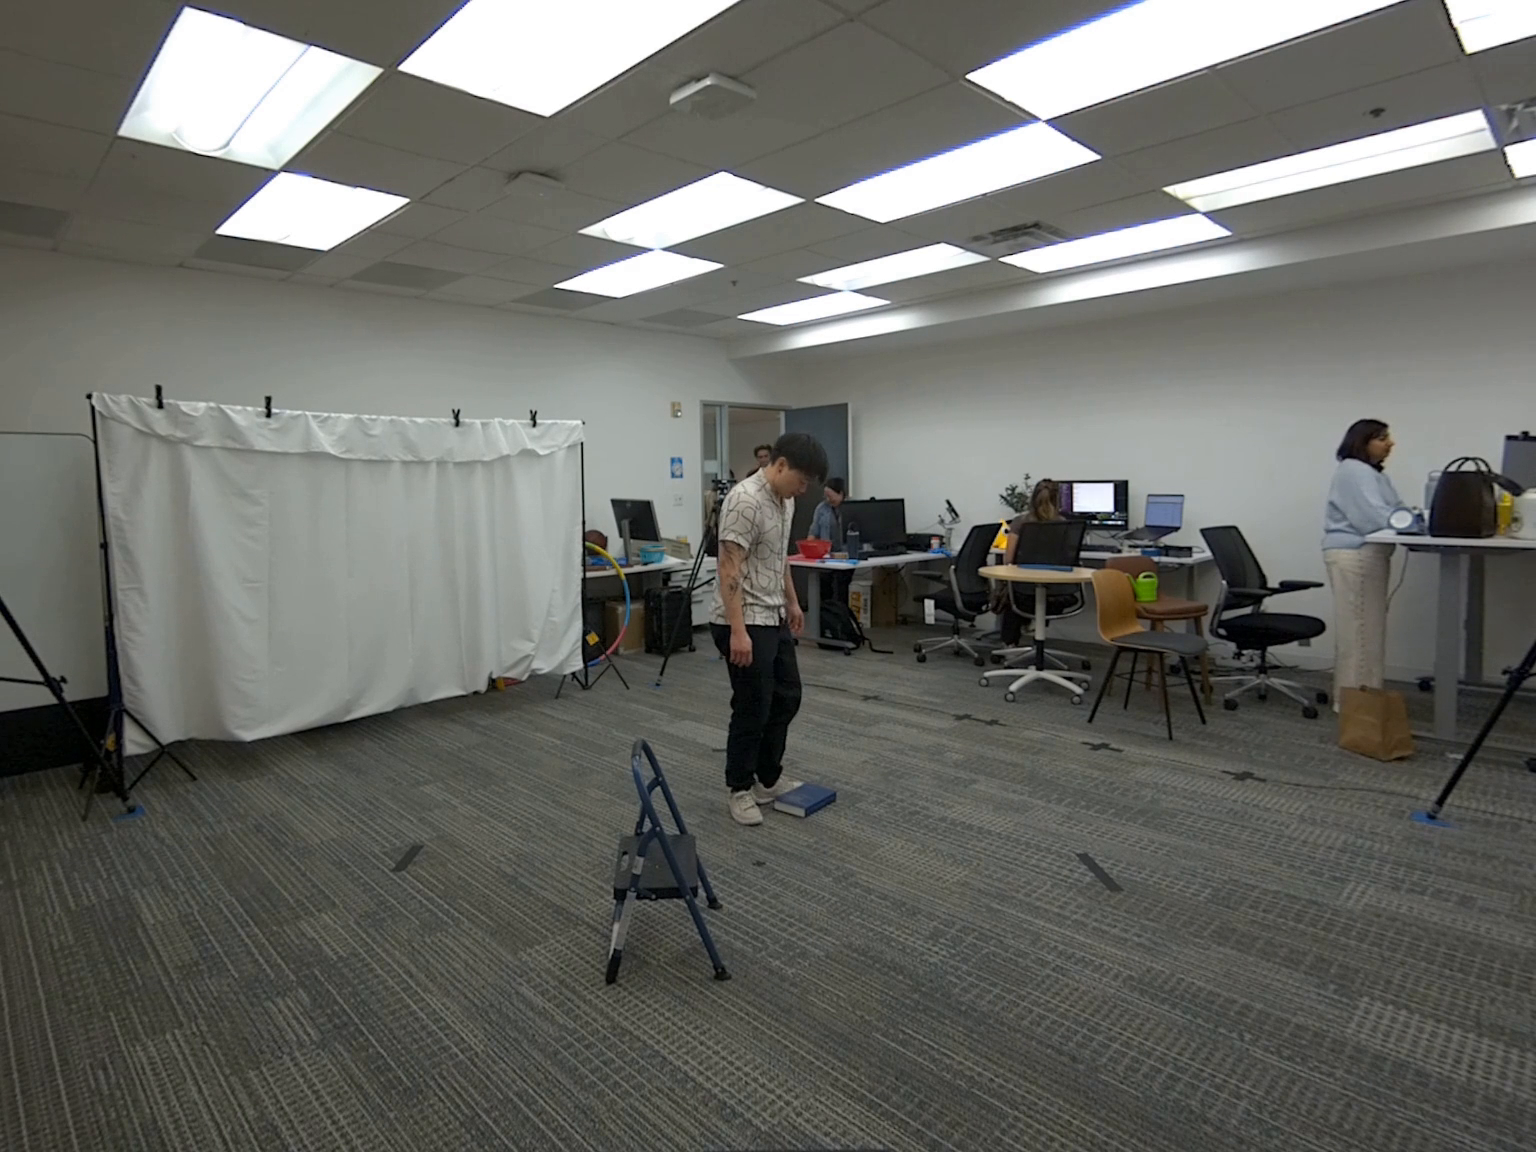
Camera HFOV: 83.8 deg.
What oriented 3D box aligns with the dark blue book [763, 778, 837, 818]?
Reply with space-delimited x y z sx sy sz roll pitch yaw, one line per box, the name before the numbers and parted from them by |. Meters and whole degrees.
dark blue book | 0.155 0.956 3.649 0.168 0.045 0.239 4 8 37
